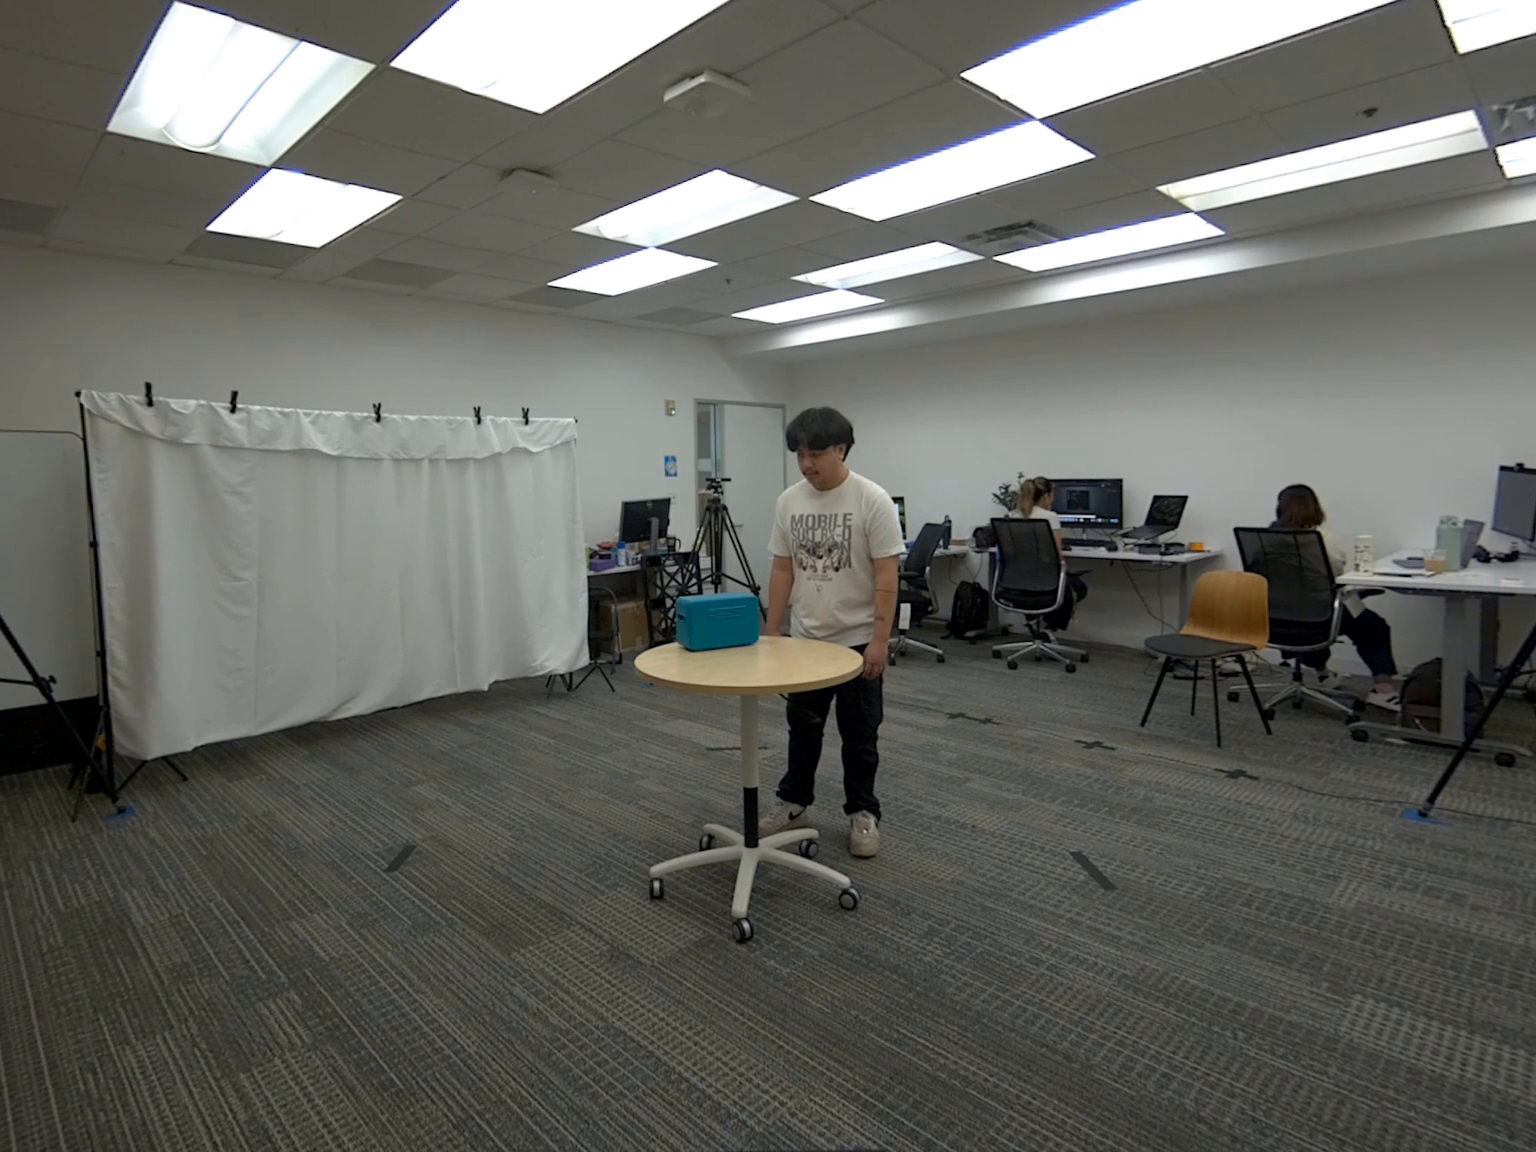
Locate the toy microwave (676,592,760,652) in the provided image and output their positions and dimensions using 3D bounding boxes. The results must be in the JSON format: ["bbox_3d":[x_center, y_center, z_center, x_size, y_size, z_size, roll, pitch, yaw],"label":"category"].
[{"bbox_3d":[-0.187,0.160,3.093,0.280,0.183,0.156,-4,7,-27],"label":"toy microwave"}]
